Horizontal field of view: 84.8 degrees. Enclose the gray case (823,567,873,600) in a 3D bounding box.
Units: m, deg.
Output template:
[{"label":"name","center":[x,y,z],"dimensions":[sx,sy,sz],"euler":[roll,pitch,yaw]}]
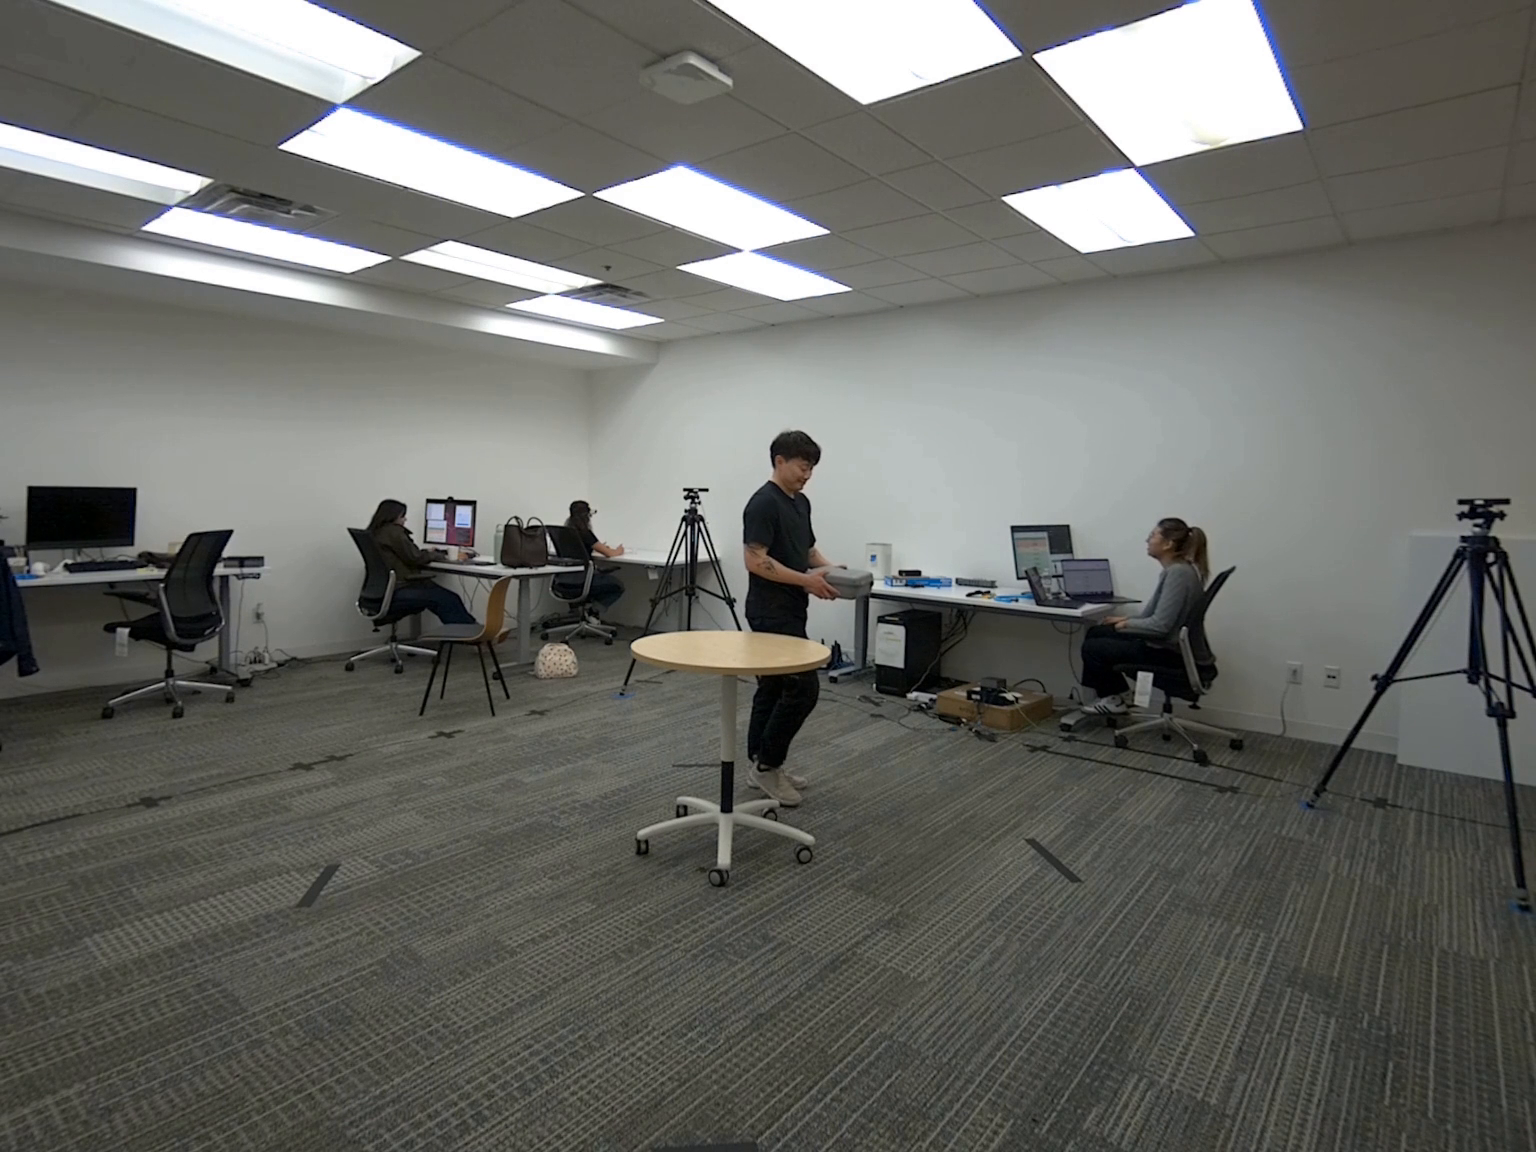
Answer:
[{"label":"gray case","center":[0.315,0.028,3.813],"dimensions":[0.268,0.104,0.251],"euler":[7,8,28]}]
